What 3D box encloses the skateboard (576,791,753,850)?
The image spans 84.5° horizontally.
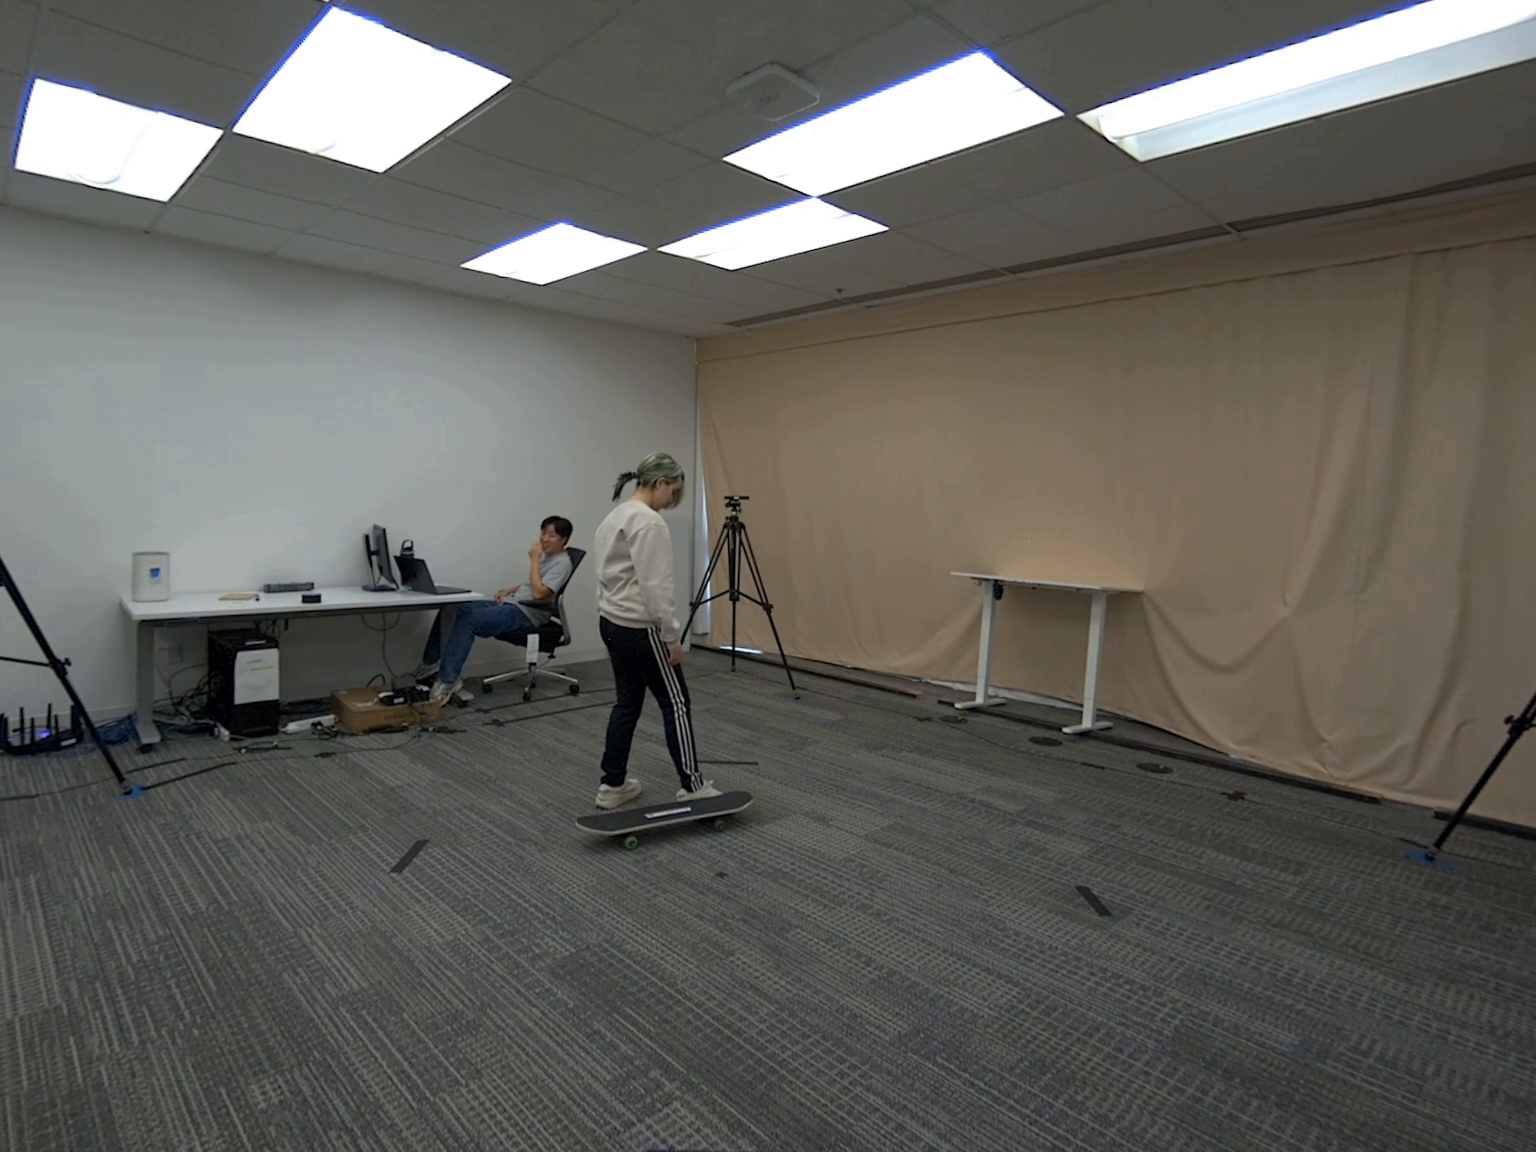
[{"bbox_3d":[-0.414,1.005,3.476,0.770,0.110,0.198,-2,6,-30],"label":"skateboard"}]
